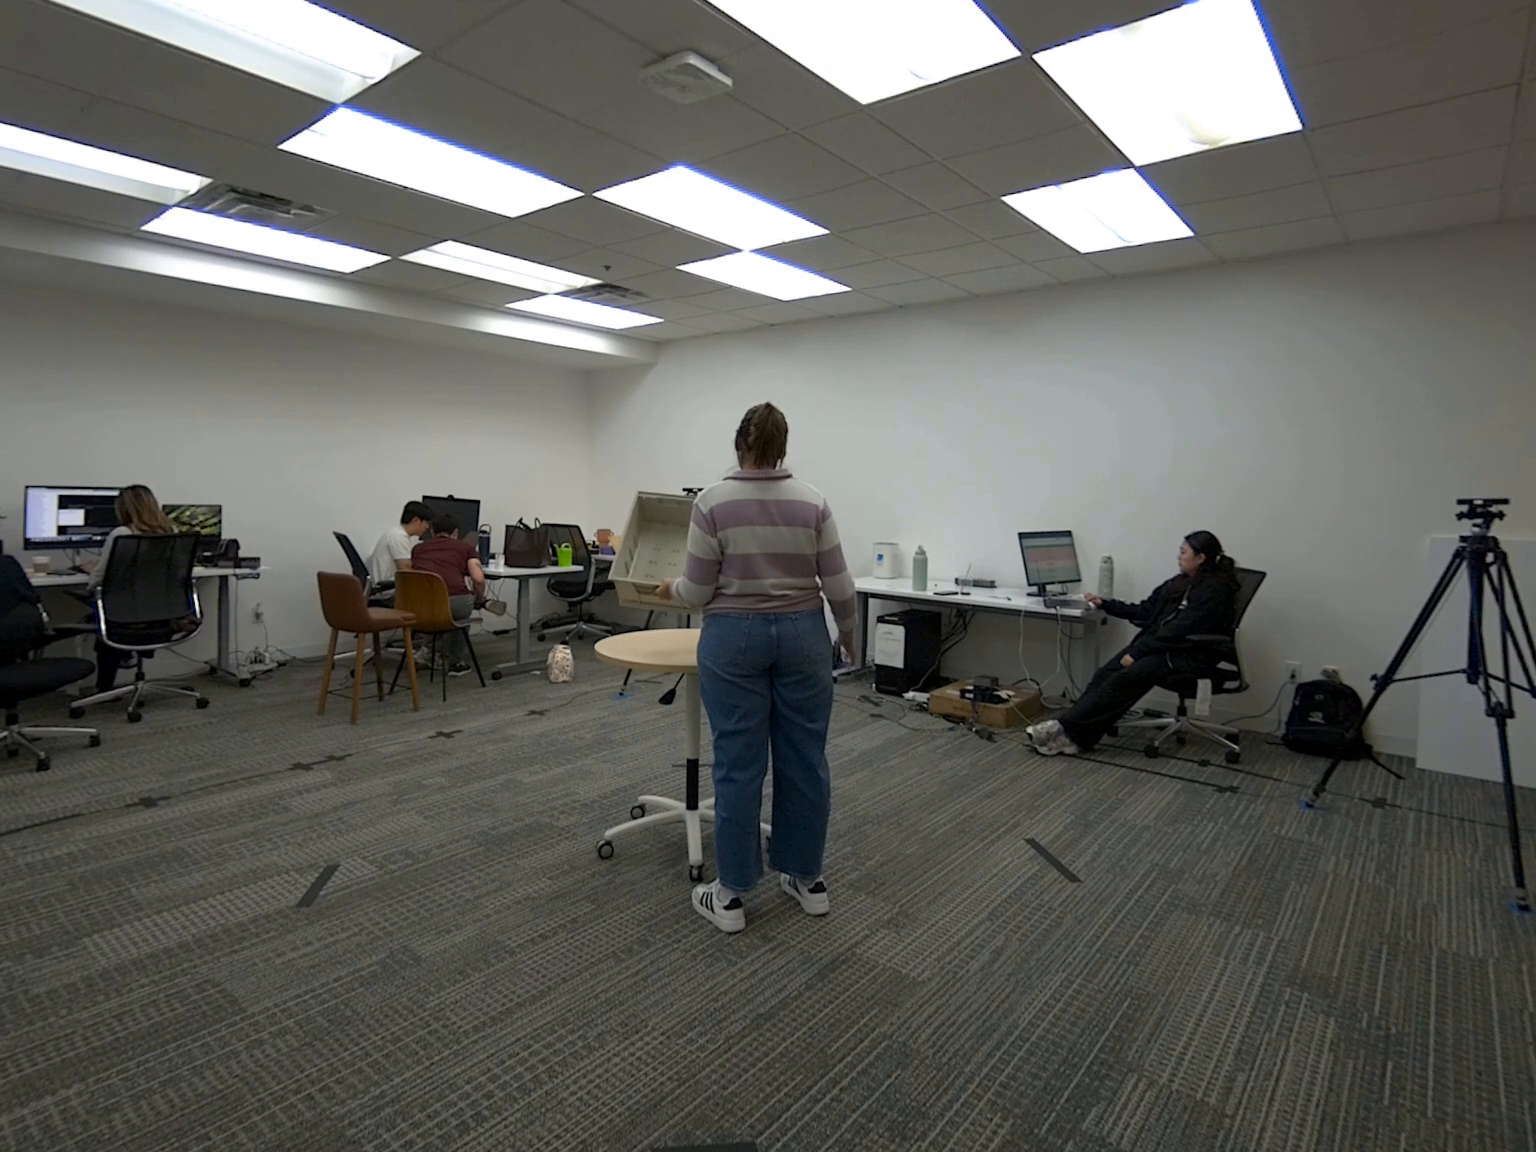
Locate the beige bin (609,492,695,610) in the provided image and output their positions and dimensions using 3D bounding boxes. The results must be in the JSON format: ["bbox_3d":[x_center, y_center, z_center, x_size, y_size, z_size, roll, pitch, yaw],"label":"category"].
[{"bbox_3d":[-0.370,-0.090,3.223,0.381,0.431,0.183,6,-36,7],"label":"beige bin"}]
